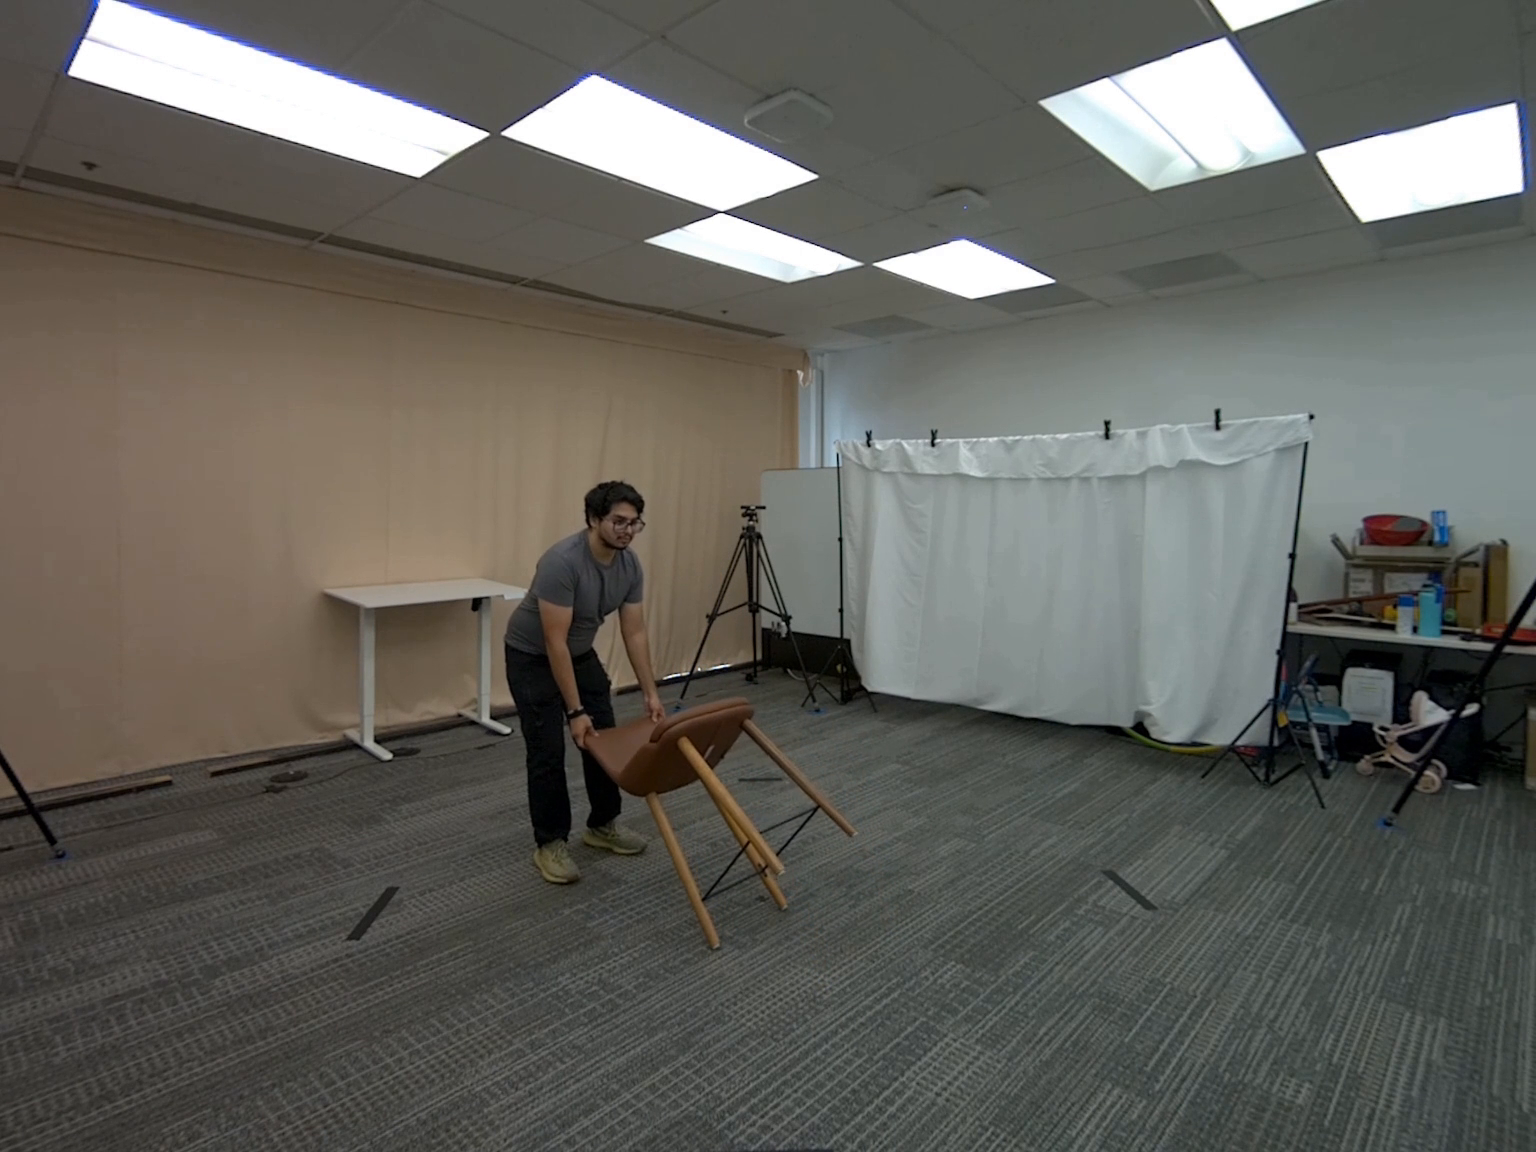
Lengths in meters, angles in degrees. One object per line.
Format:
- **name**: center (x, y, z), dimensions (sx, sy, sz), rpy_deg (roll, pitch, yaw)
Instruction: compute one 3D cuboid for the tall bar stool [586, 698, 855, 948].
- **tall bar stool**: center (-0.208, 0.708, 2.886), dimensions (0.443, 0.467, 0.917), rpy_deg (-5, 44, -48)
